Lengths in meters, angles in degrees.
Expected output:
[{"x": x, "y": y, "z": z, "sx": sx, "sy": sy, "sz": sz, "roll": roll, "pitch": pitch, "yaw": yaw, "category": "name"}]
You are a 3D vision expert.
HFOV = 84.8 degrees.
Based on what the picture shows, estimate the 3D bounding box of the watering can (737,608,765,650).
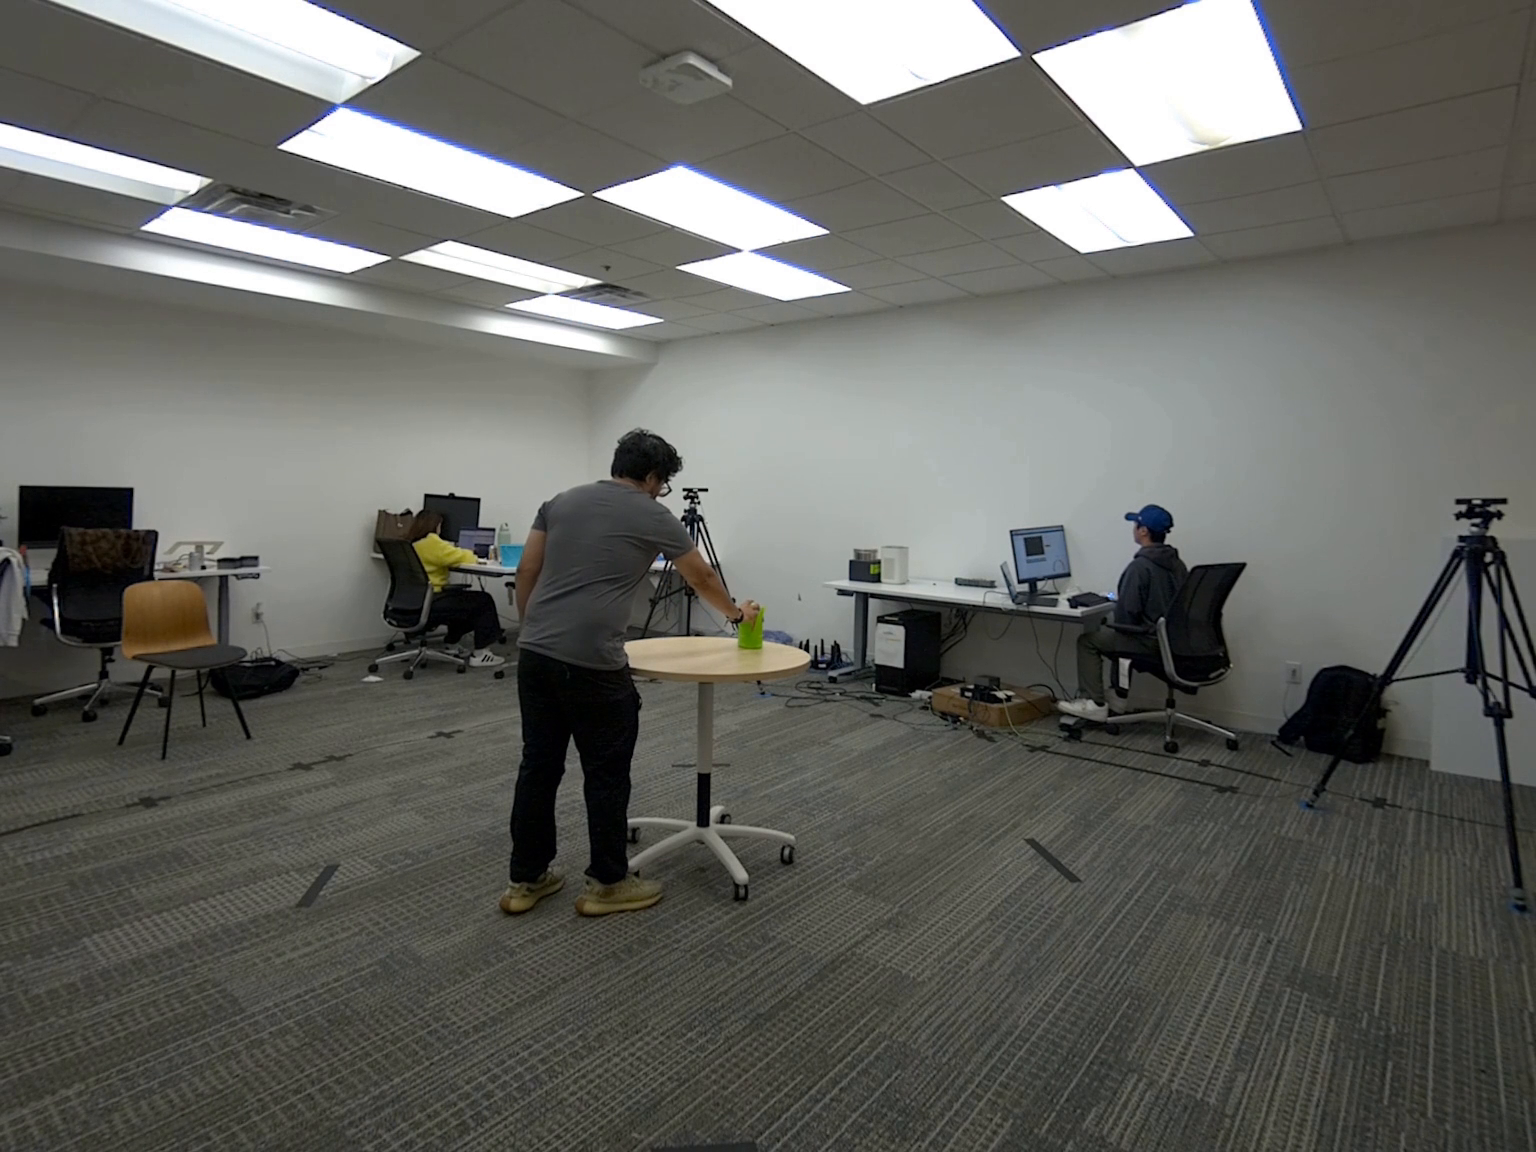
[{"x": -0.077, "y": 0.190, "z": 3.274, "sx": 0.098, "sy": 0.177, "sz": 0.279, "roll": 3, "pitch": 1, "yaw": -4, "category": "watering can"}]
